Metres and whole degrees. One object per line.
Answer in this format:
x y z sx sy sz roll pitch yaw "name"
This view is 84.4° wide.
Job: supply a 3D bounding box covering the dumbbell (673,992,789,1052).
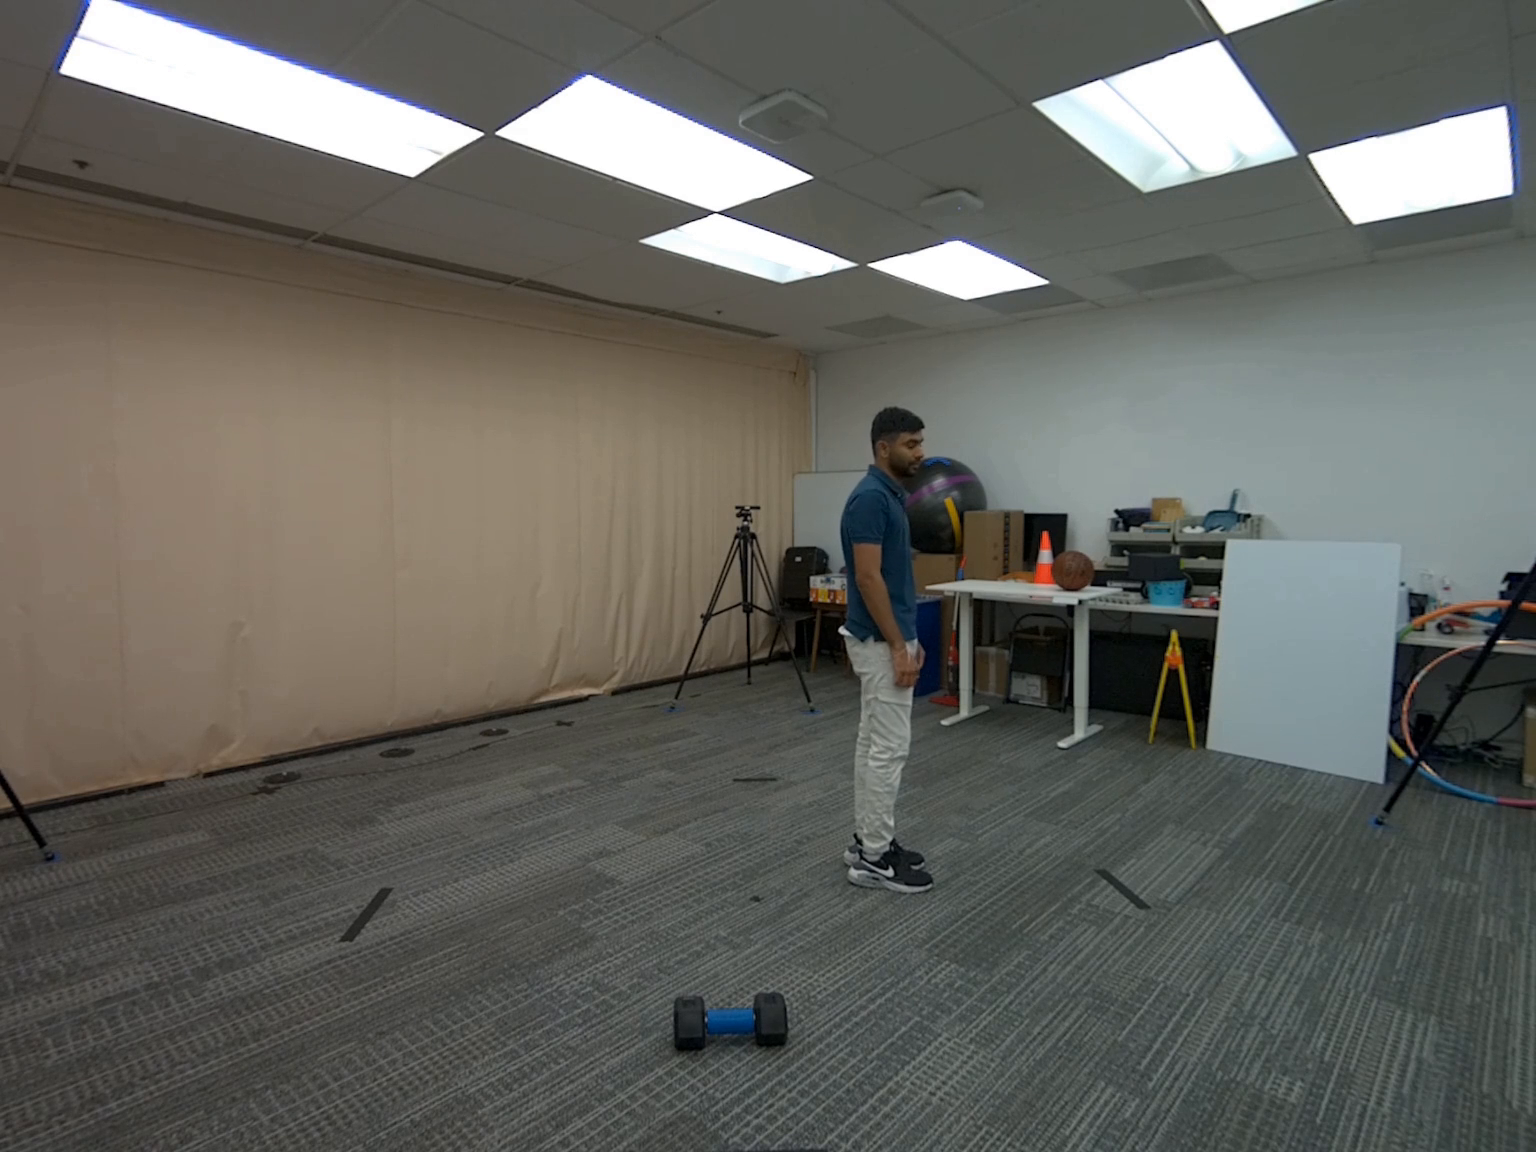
-0.096 1.158 2.184 0.292 0.125 0.107 0 -29 -4 "dumbbell"
